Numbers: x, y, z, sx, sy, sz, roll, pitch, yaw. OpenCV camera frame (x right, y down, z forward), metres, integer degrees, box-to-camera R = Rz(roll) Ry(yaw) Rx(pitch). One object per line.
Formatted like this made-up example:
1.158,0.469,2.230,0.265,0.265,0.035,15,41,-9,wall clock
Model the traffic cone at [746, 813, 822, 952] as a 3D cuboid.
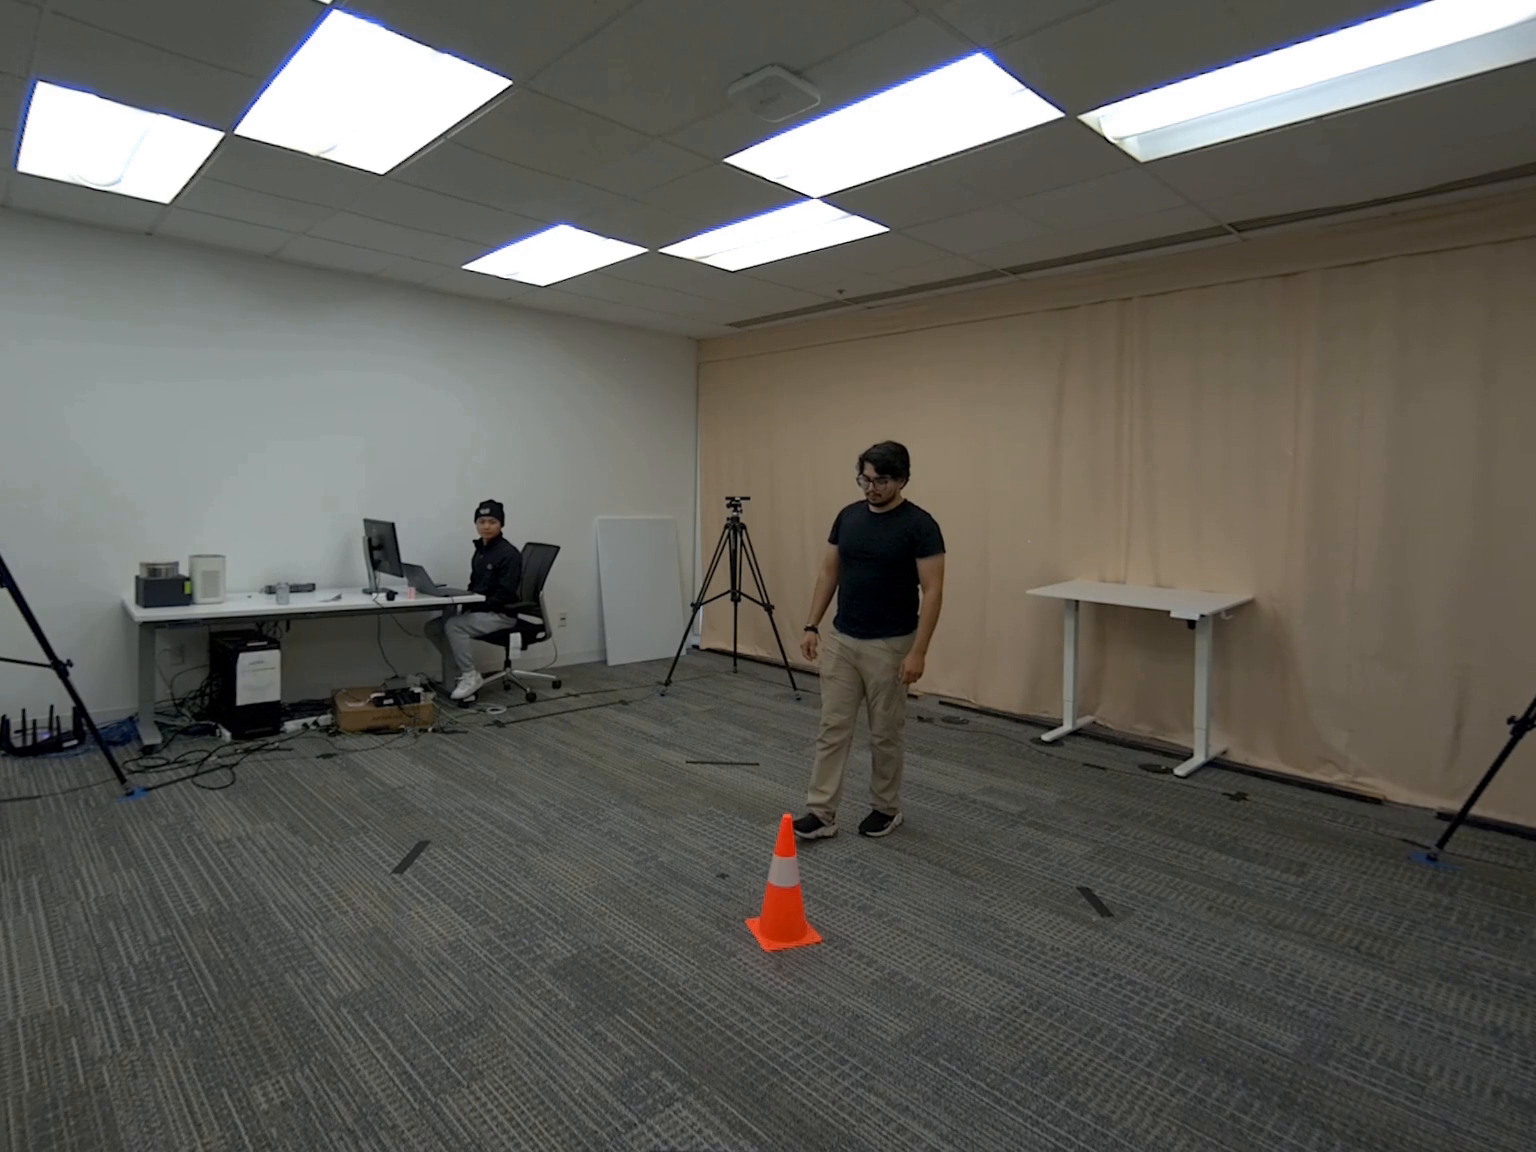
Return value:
0.052,0.961,2.704,0.201,0.383,0.208,2,3,-28,traffic cone
